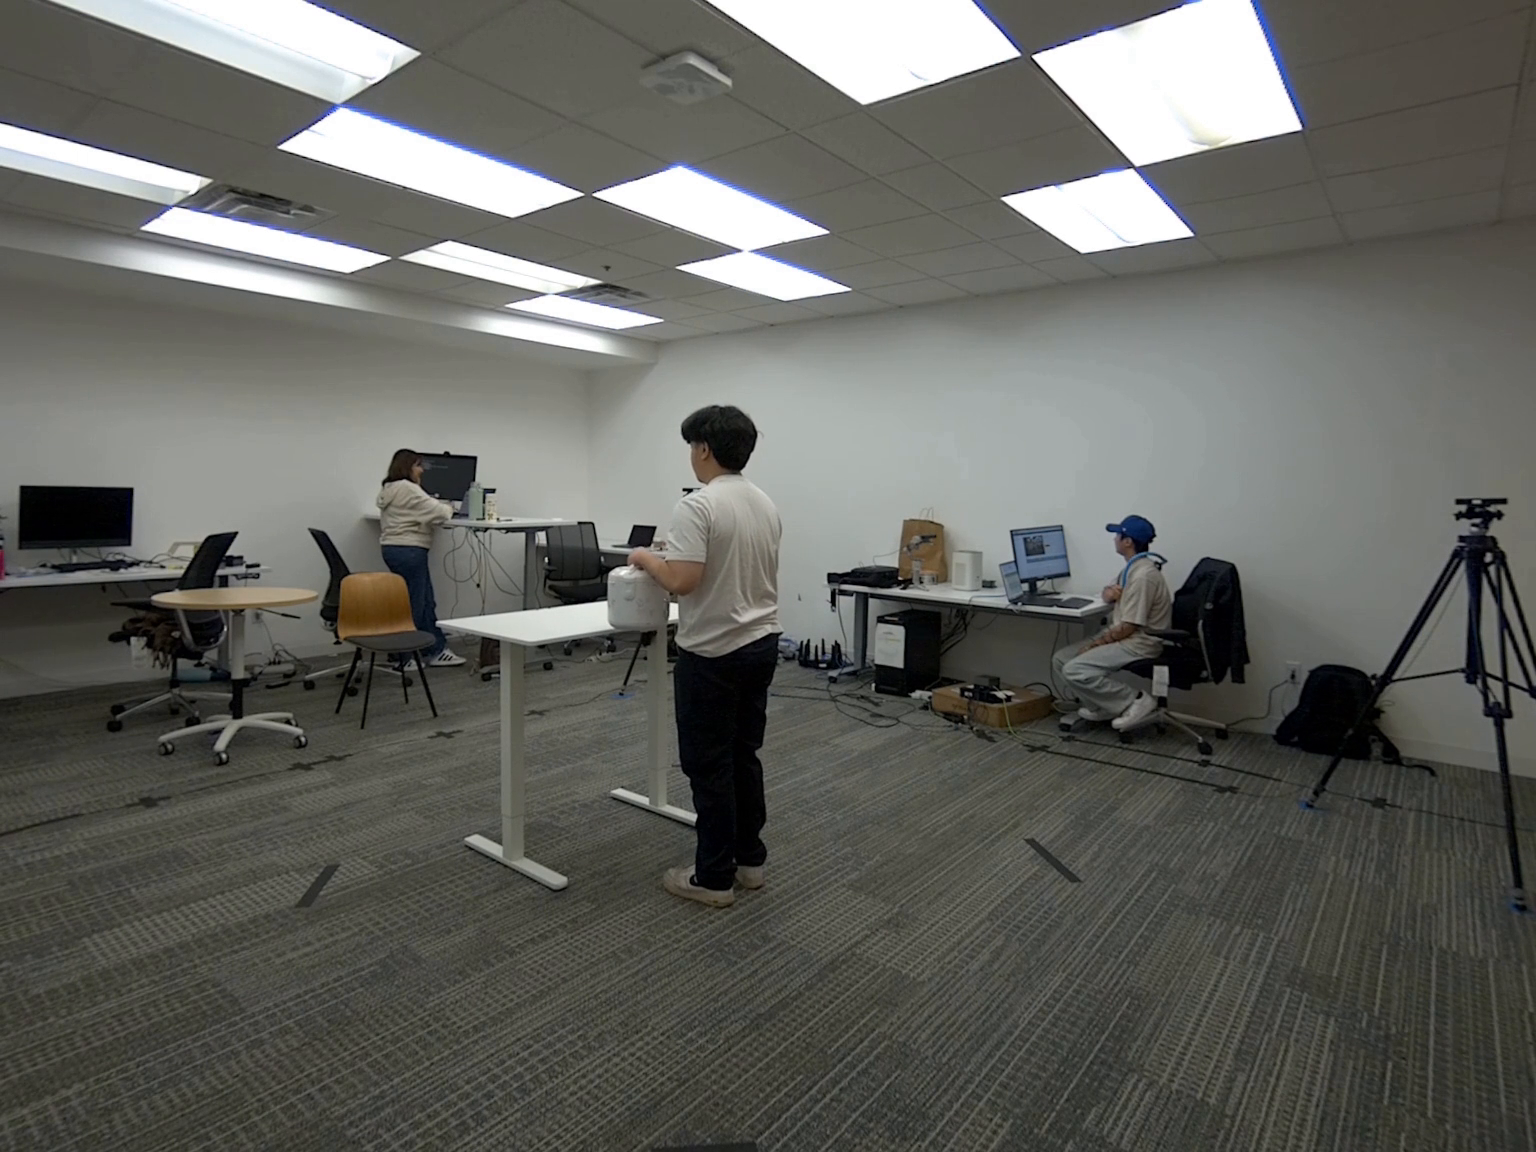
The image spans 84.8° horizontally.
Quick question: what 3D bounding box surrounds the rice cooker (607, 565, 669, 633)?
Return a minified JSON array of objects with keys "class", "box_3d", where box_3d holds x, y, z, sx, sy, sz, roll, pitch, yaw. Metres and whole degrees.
[{"class":"rice cooker","box_3d":[-0.456,0.061,2.952,0.220,0.232,0.218,1,5,12]}]
